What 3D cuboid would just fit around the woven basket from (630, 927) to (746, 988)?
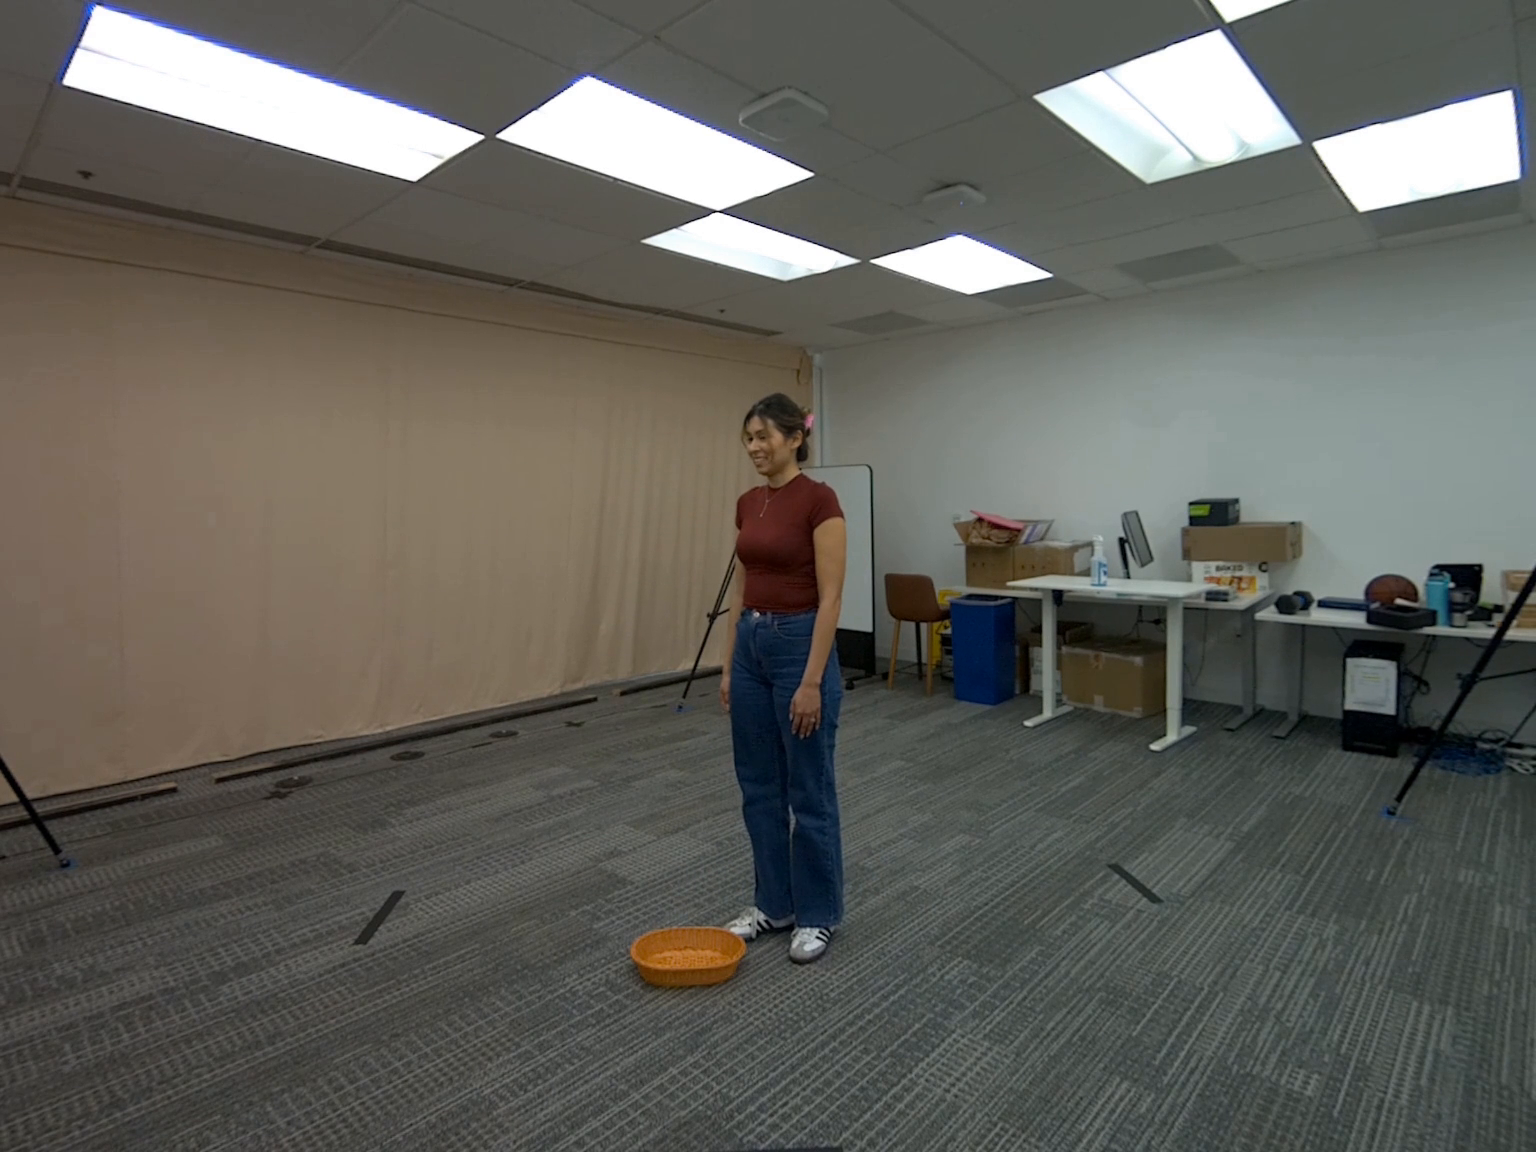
[{"bbox_3d":[-0.238,1.145,2.527,0.350,0.073,0.253,-1,3,-1],"label":"woven basket"}]
